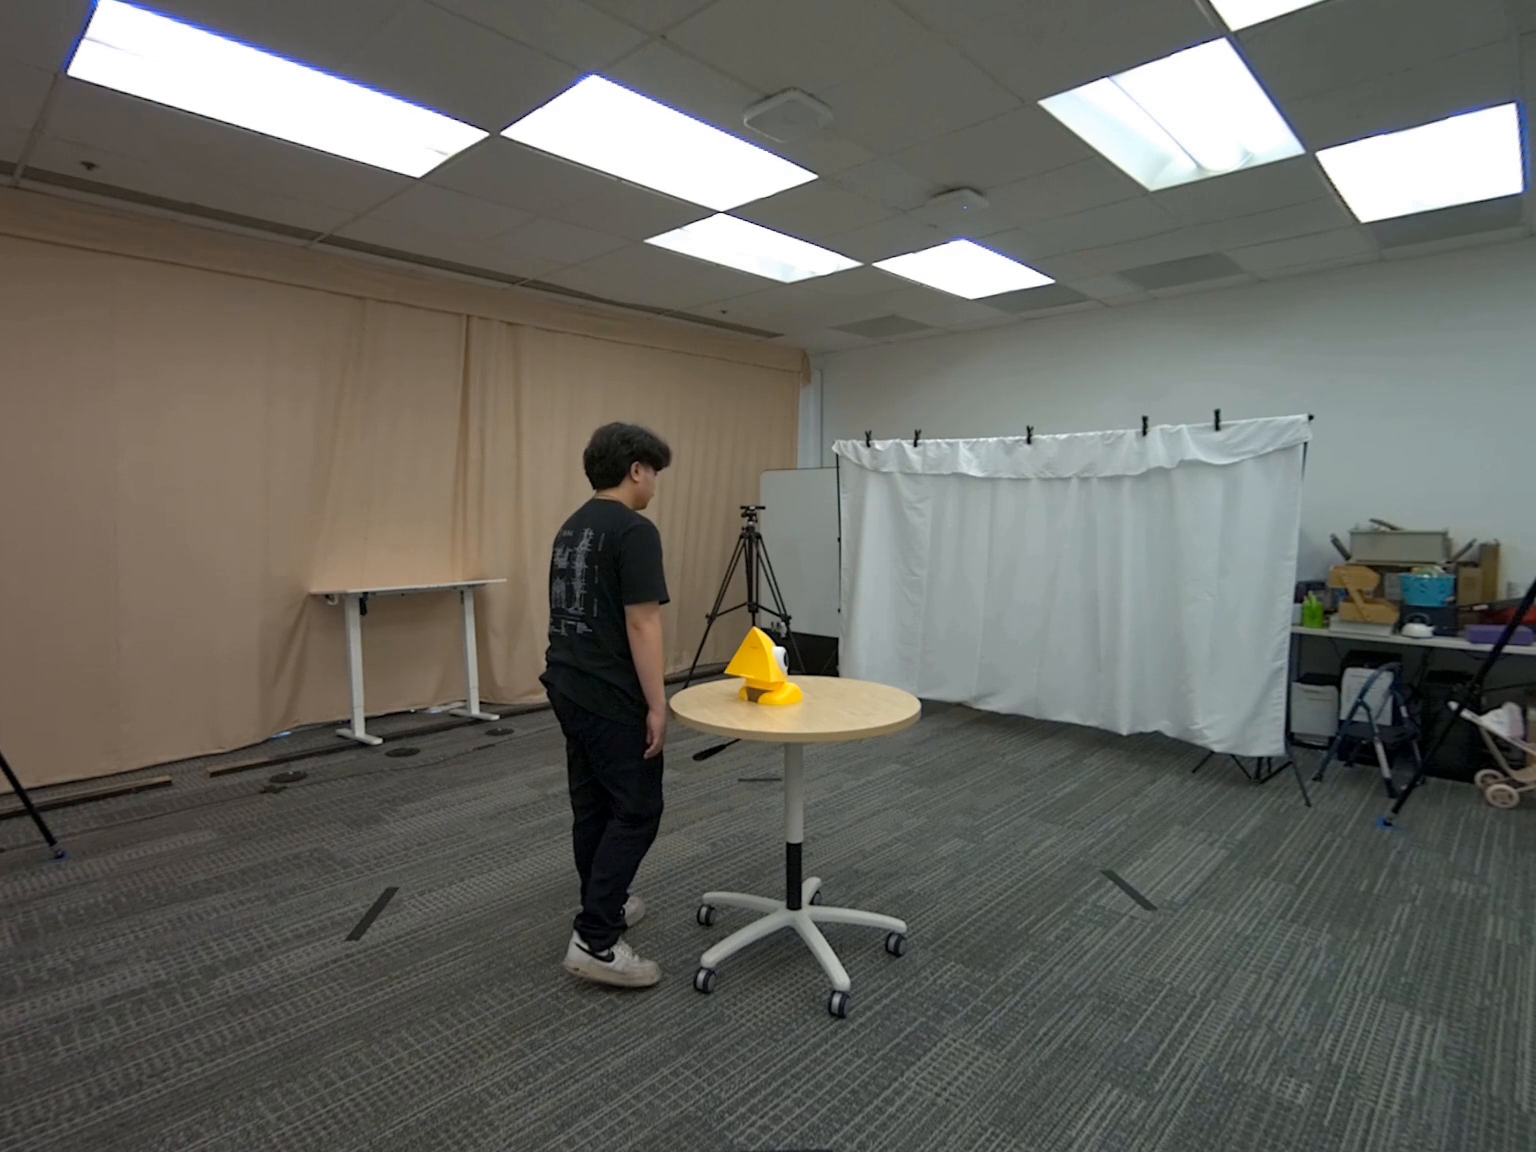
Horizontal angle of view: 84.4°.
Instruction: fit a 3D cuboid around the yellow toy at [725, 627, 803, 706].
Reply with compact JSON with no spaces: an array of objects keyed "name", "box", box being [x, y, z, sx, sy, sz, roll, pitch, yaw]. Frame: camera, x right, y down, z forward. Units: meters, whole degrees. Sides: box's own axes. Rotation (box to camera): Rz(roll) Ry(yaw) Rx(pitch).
[{"name":"yellow toy","box":[0.003,0.268,2.611,0.187,0.230,0.211,-3,4,-45]}]
